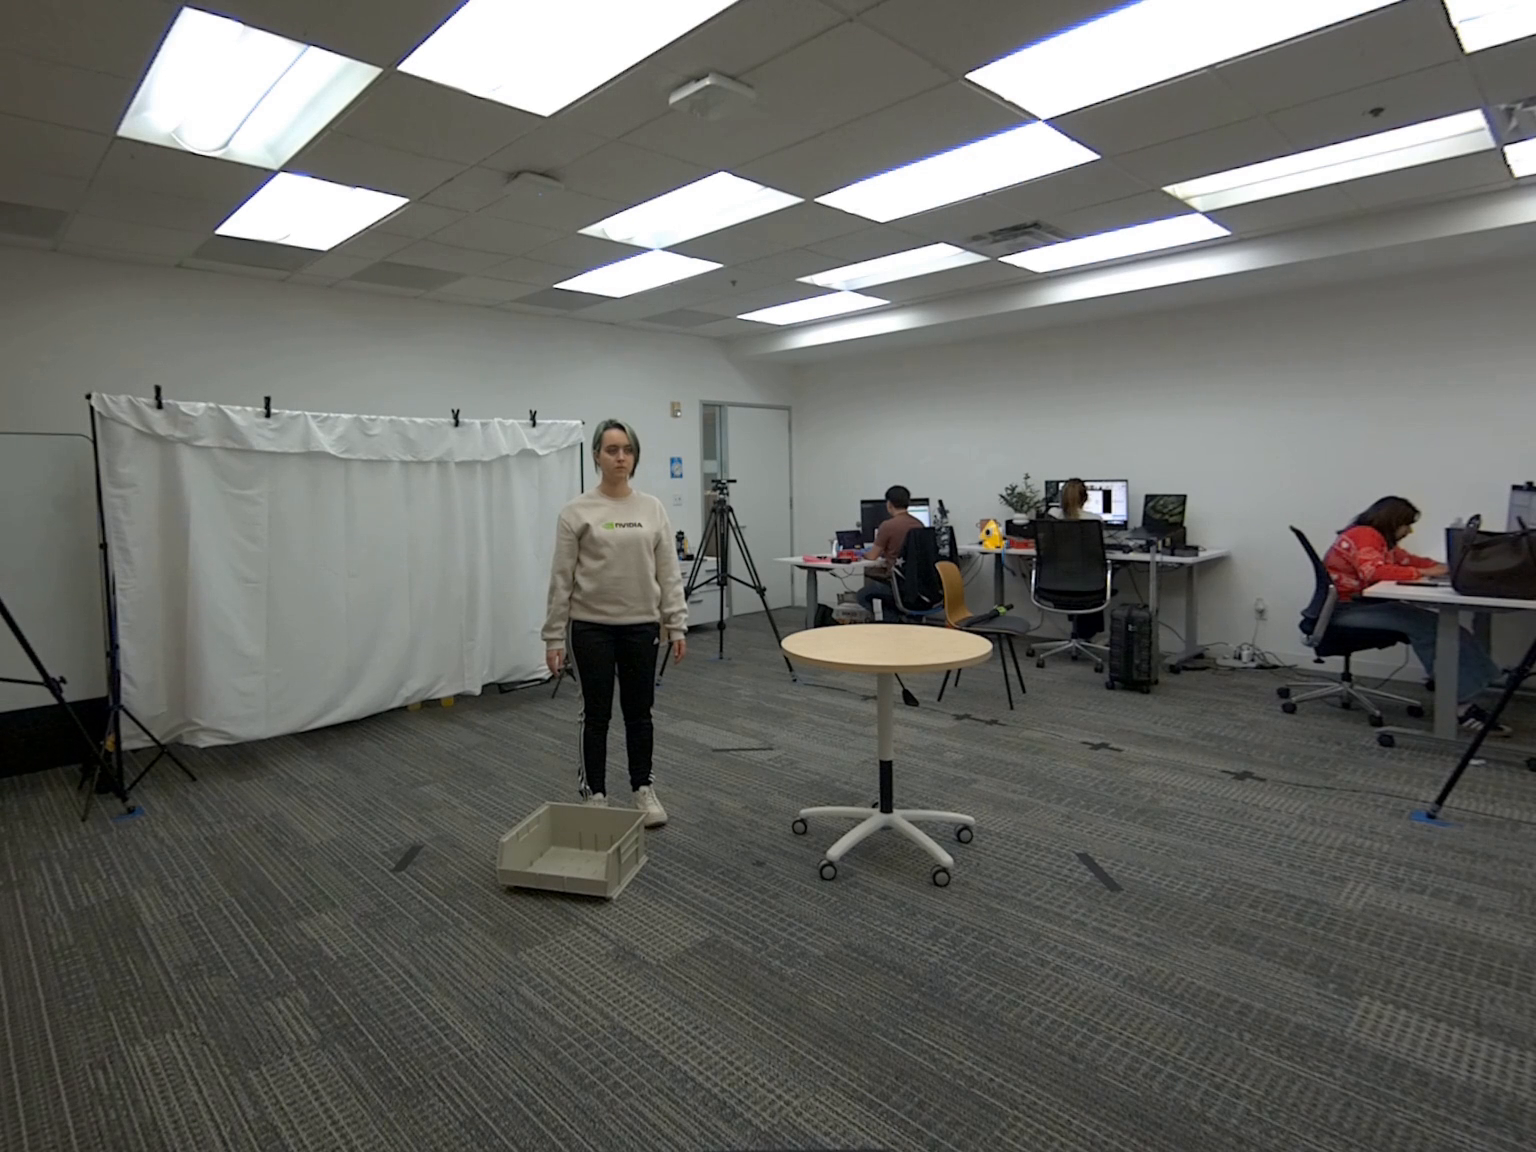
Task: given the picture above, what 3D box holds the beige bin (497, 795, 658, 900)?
[{"bbox_3d":[-0.689,0.983,3.041,0.429,0.188,0.373,-1,5,15],"label":"beige bin"}]
